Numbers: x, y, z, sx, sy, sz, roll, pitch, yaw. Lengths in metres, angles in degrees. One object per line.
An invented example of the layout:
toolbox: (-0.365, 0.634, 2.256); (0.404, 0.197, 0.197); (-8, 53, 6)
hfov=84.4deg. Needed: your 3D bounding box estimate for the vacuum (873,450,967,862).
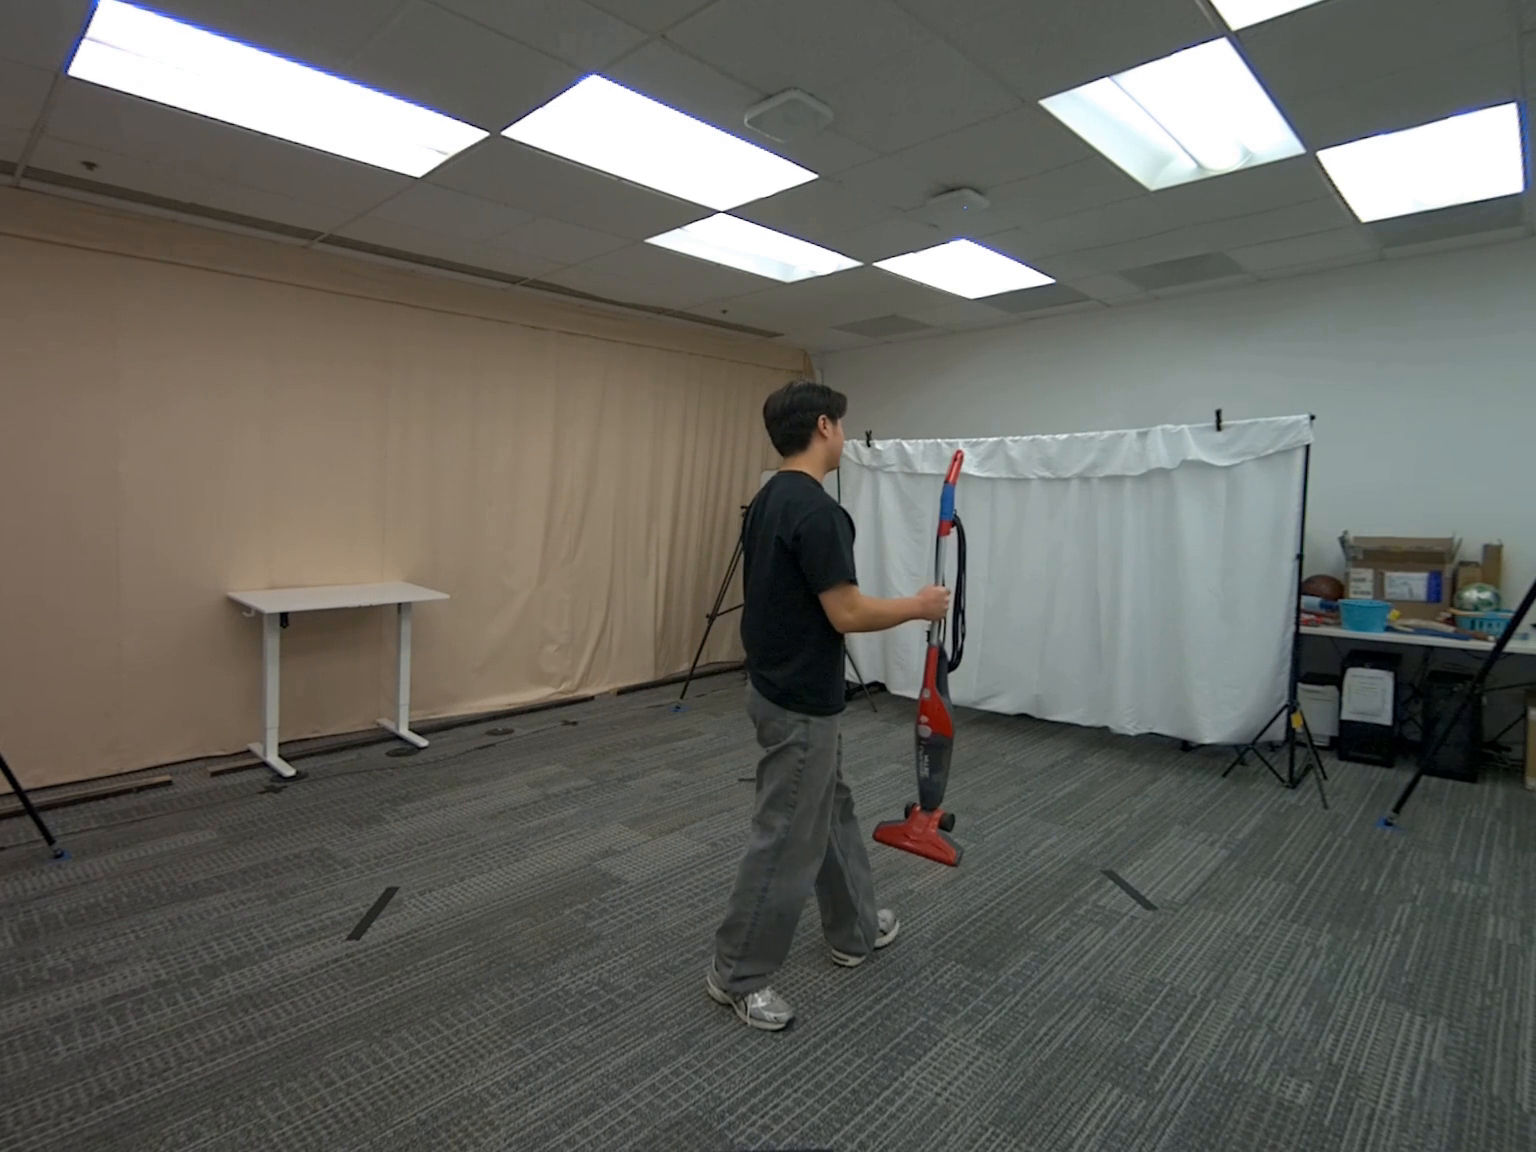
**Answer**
vacuum: (0.493, 0.183, 2.327); (0.261, 1.051, 0.139); (4, -3, 39)
